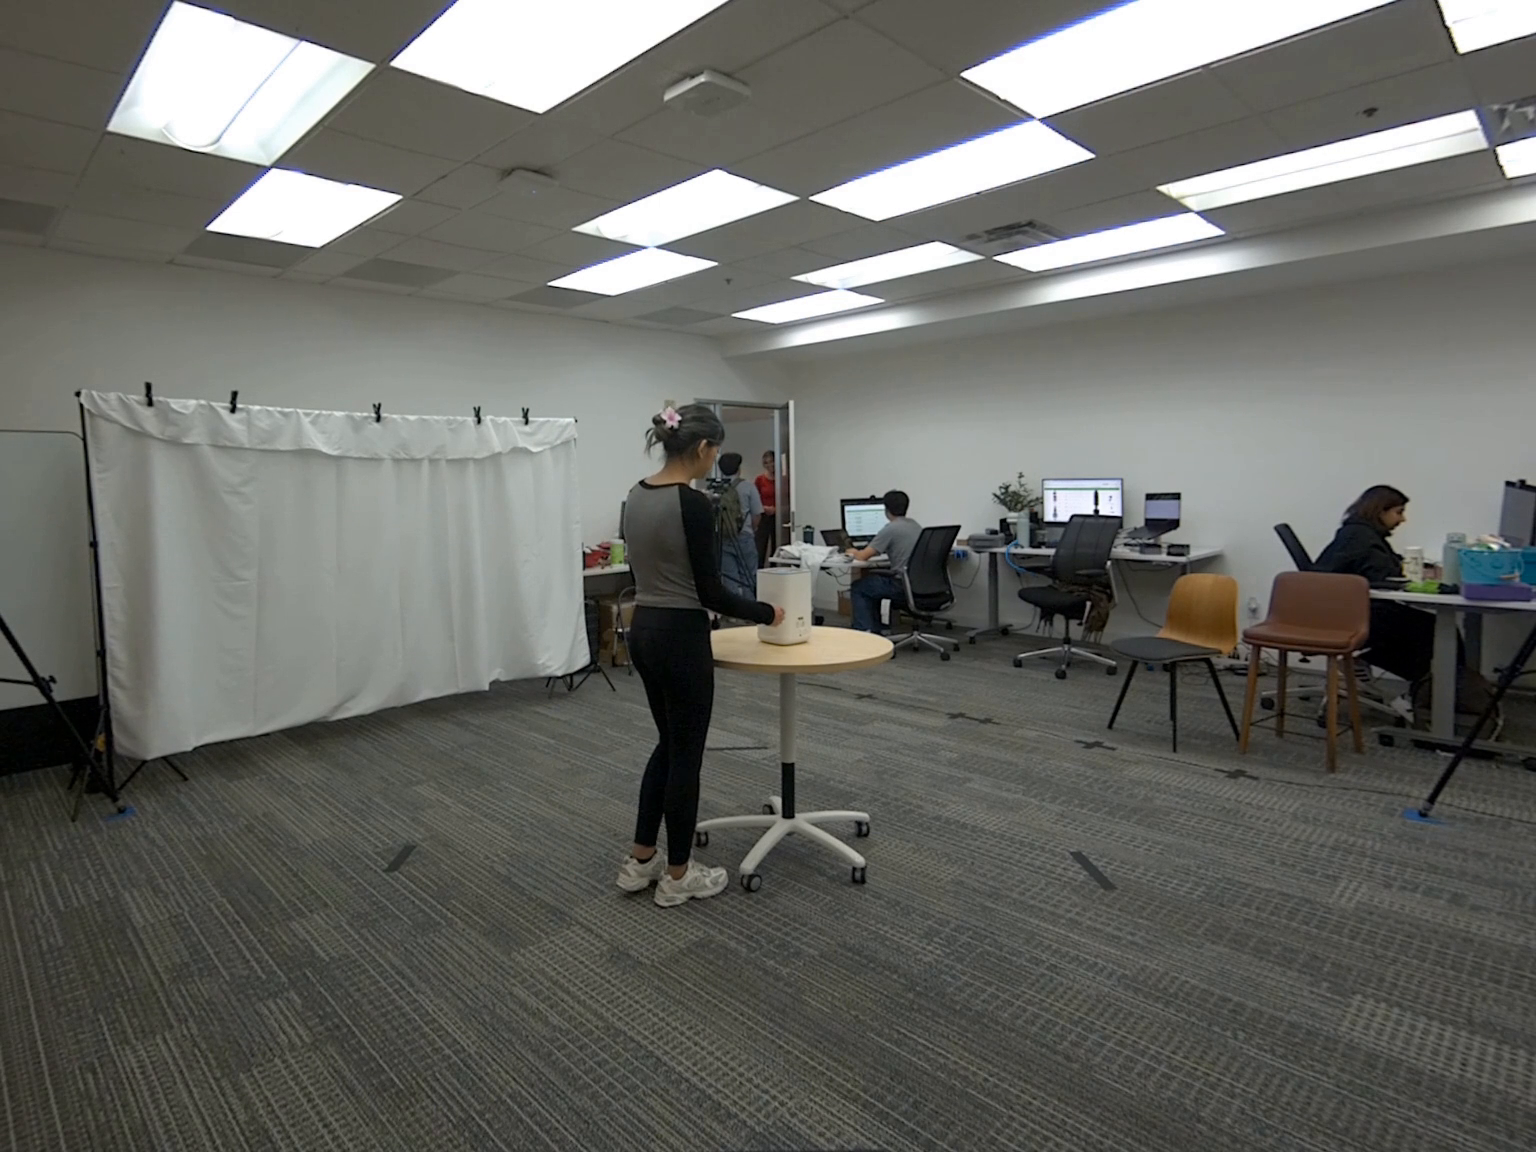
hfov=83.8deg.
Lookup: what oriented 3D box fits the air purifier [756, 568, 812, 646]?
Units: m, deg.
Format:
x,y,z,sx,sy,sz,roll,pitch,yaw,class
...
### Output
x,y,z,sx,sy,sz,roll,pitch,yaw,class
0.066,0.111,3.148,0.166,0.264,0.177,-3,6,-43,air purifier
